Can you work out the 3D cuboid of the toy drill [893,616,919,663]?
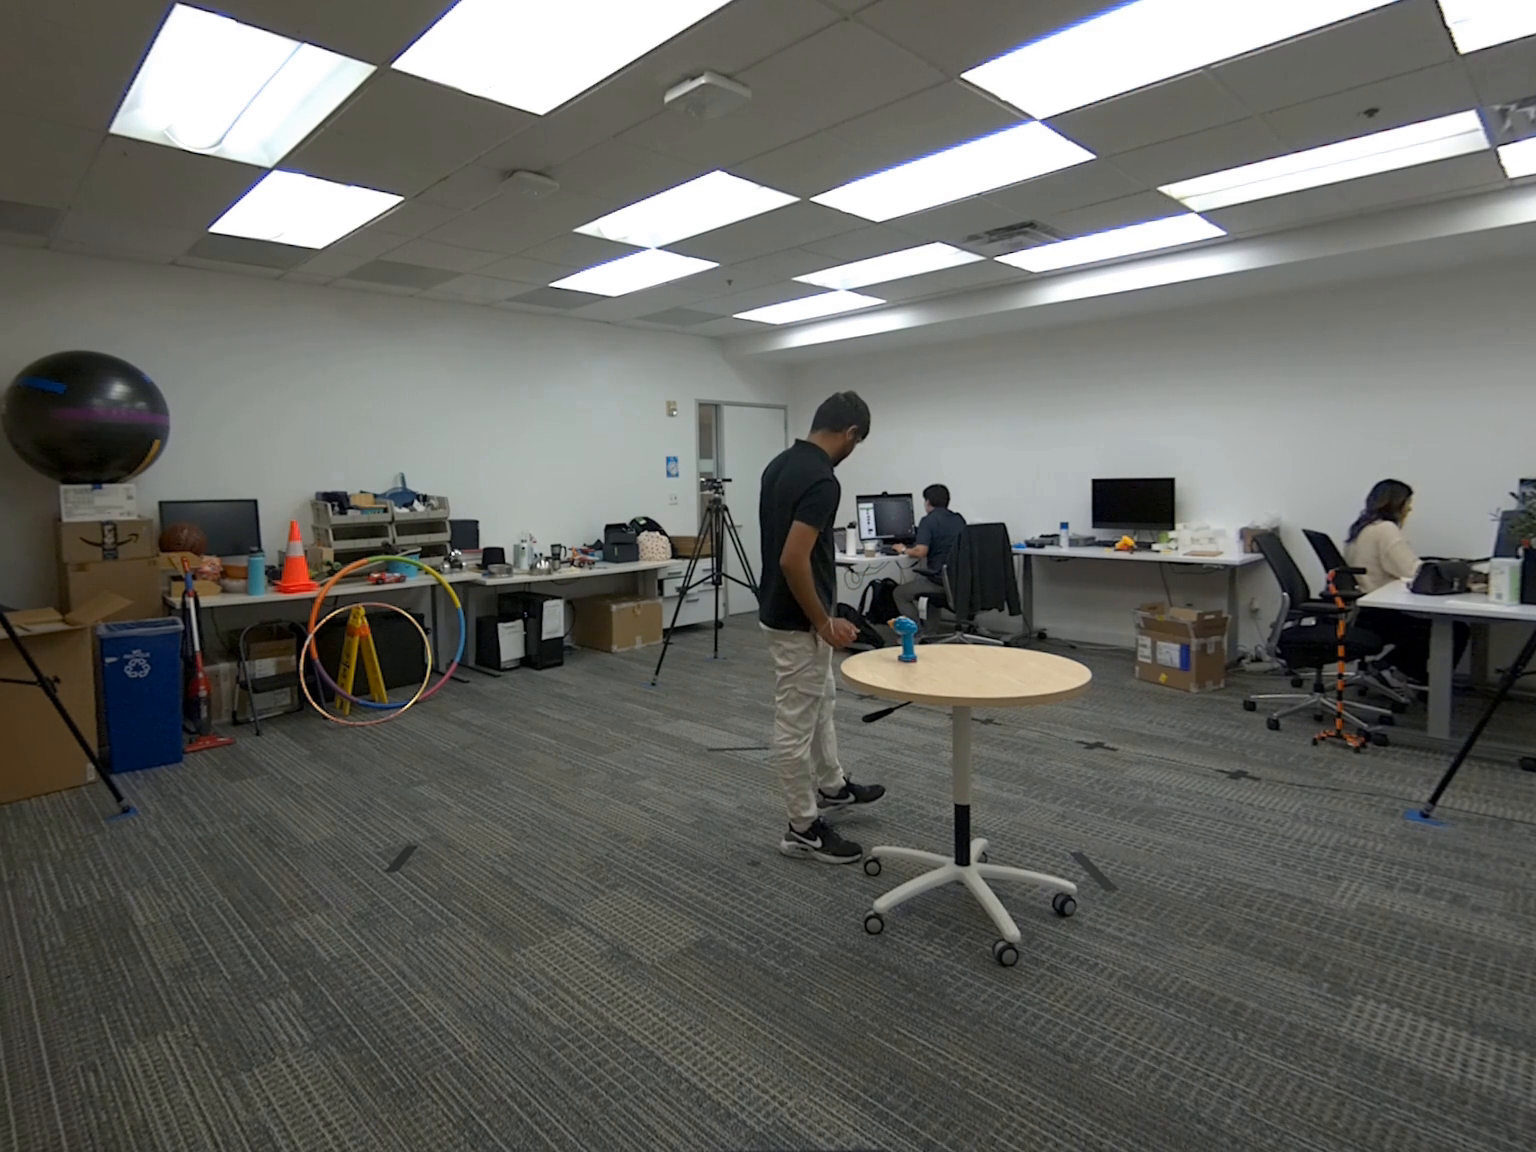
[{"bbox_3d":[0.459,0.207,2.882,0.060,0.145,0.173,-3,5,-18],"label":"toy drill"}]
